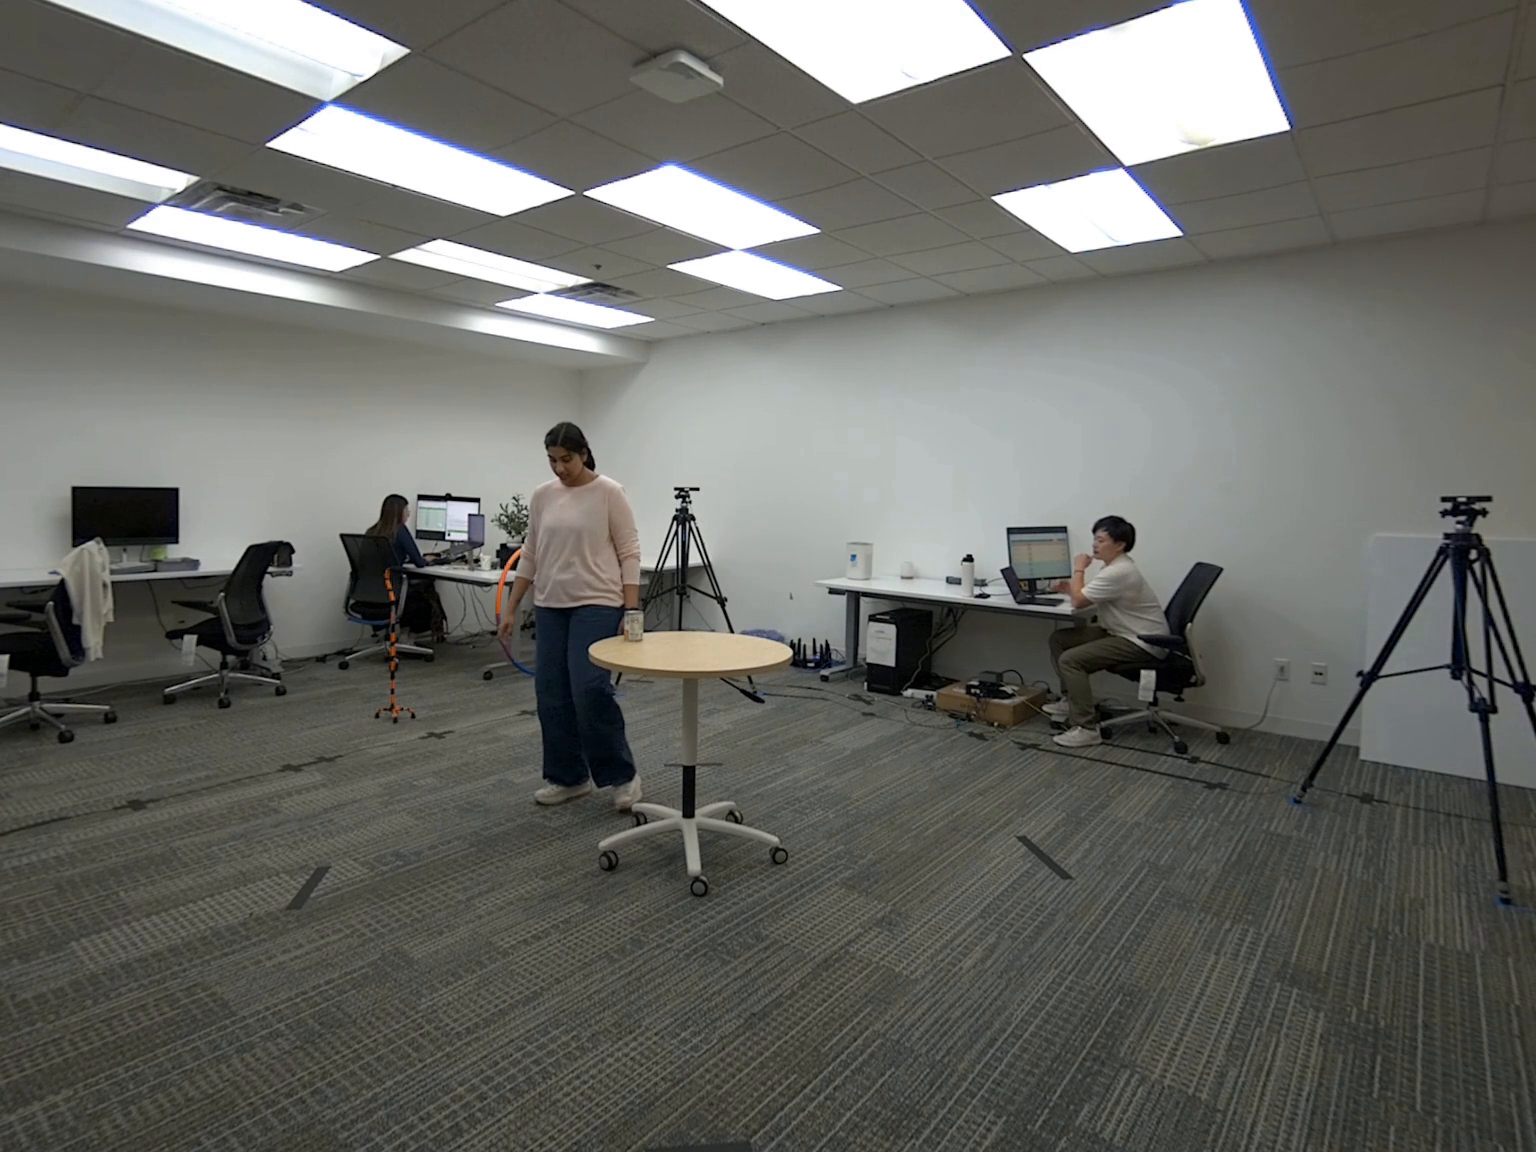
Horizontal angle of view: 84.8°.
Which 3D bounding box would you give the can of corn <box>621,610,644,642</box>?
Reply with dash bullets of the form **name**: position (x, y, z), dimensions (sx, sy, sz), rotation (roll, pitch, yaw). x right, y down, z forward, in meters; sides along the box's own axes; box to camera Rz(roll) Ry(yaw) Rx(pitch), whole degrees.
- **can of corn**: position (-0.544, 0.194, 3.353), dimensions (0.074, 0.111, 0.074), rotation (2, 4, -2)
